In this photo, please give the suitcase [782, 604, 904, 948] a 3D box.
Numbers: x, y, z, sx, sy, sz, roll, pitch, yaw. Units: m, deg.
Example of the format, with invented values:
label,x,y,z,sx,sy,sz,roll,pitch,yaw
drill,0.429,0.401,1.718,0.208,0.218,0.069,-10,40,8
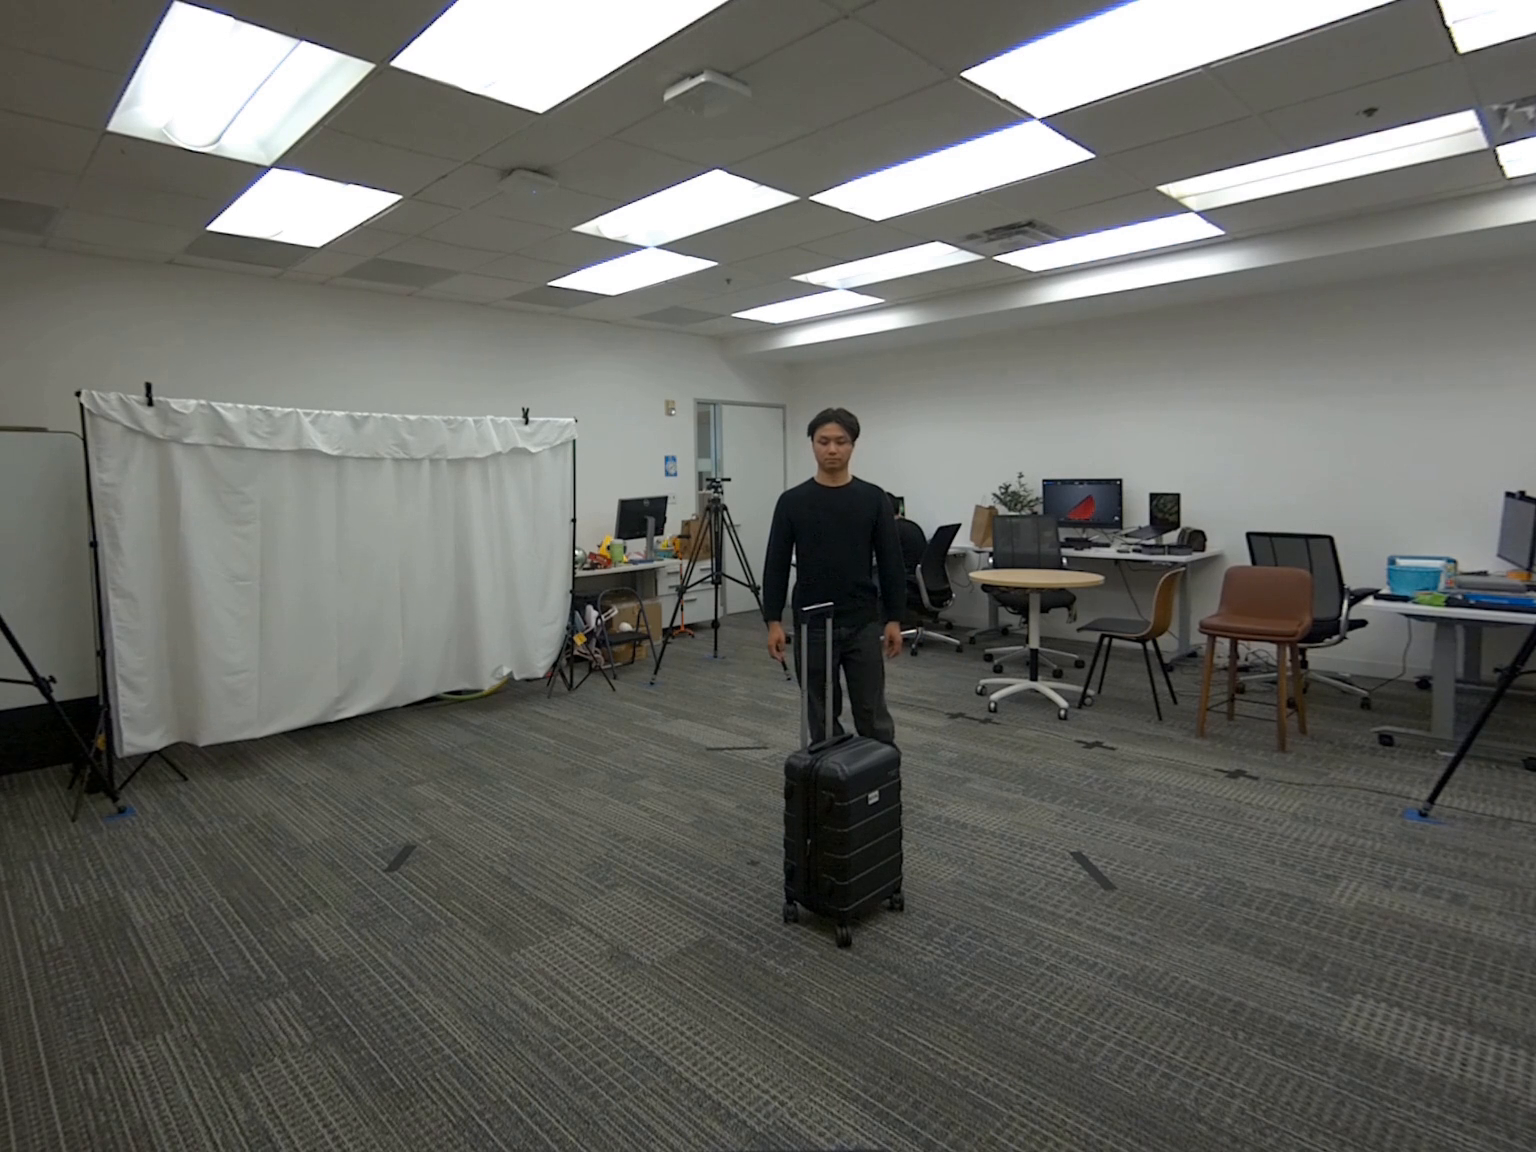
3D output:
label,x,y,z,sx,sy,sz,roll,pitch,yaw
suitcase,0.249,0.605,2.717,0.265,0.975,0.373,3,5,42
